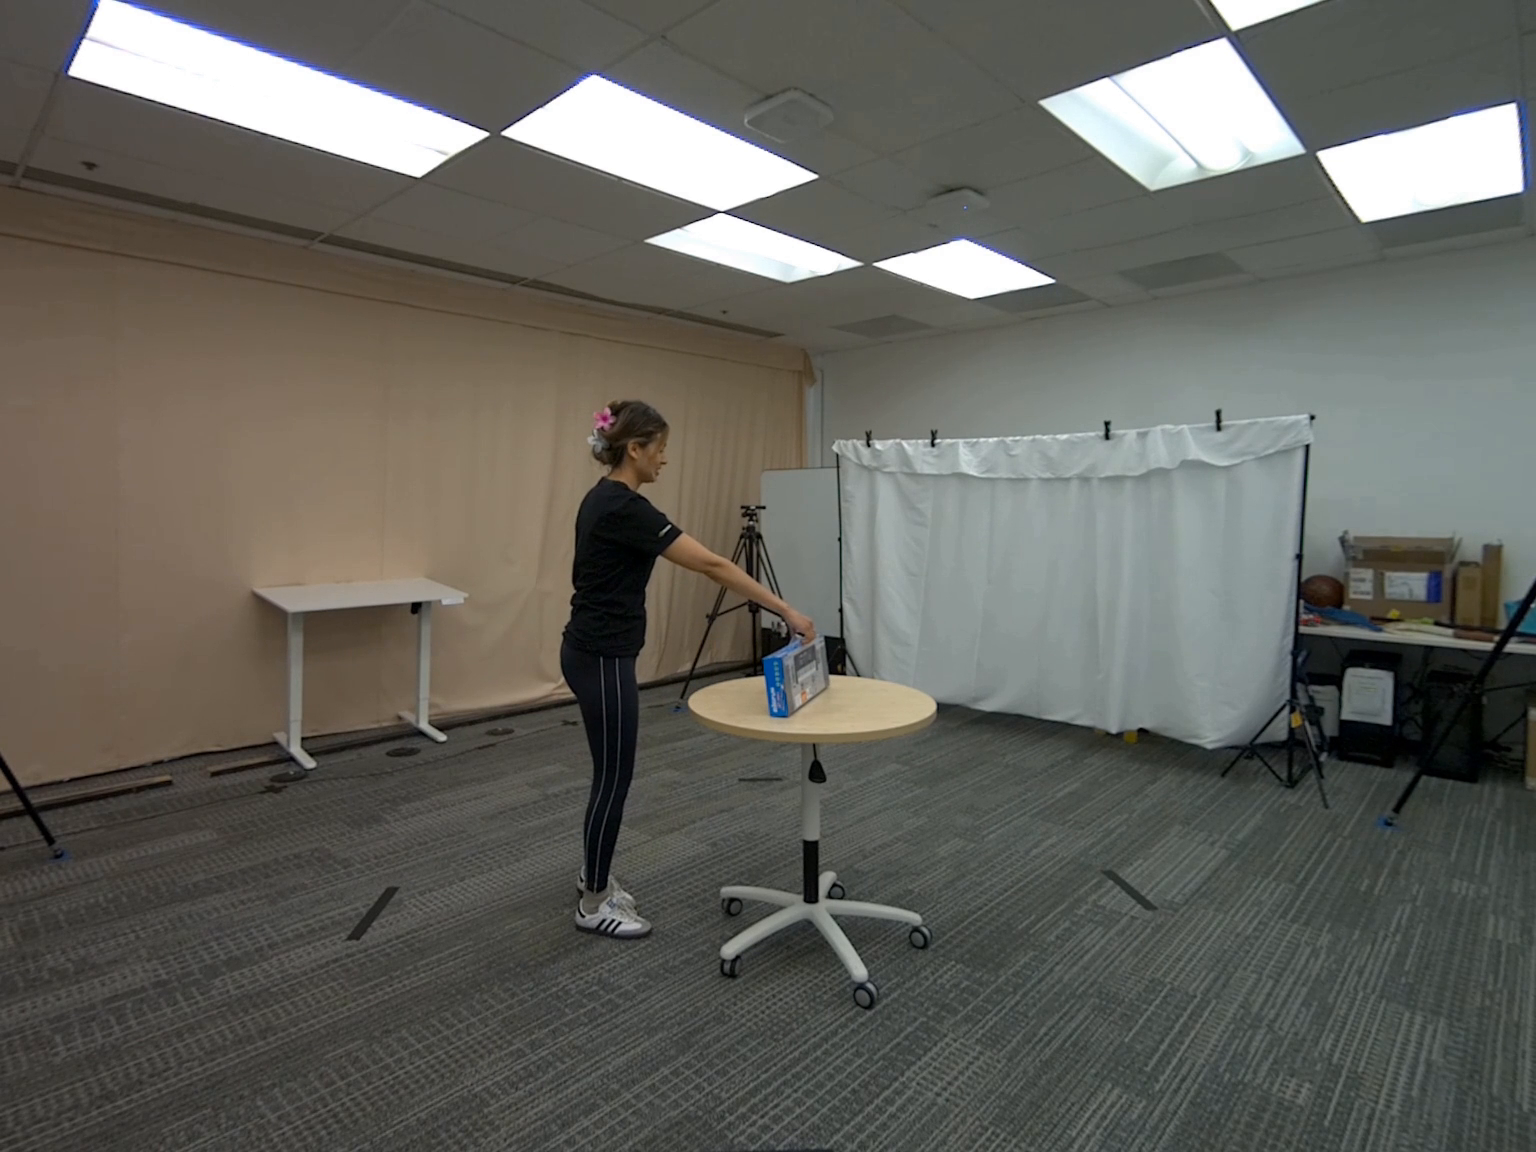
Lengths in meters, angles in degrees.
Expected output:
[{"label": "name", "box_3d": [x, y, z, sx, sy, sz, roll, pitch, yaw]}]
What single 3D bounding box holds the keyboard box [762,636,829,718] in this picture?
[{"label": "keyboard box", "box_3d": [0.096, 0.302, 2.621, 0.060, 0.176, 0.429, -5, 3, 19]}]
